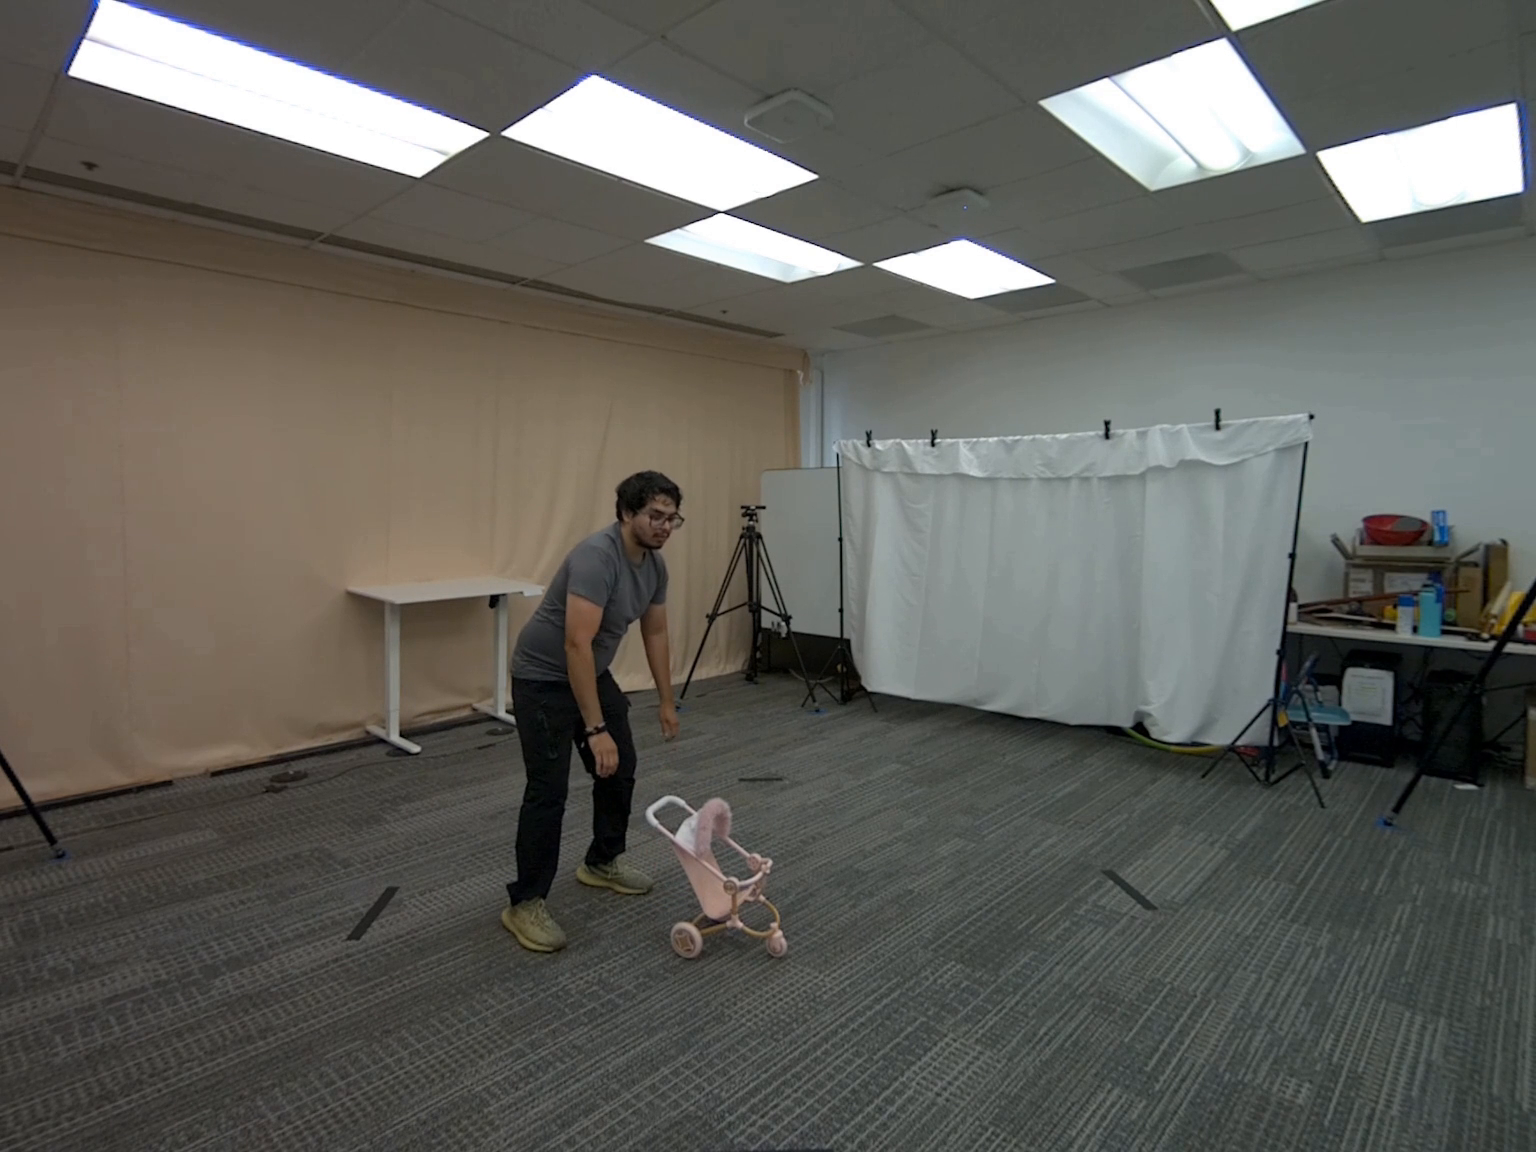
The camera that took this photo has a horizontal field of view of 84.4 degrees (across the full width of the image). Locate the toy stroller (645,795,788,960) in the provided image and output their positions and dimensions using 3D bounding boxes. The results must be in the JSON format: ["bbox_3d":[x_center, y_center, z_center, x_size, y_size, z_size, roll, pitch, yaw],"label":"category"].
[{"bbox_3d":[-0.147,0.955,2.663,0.348,0.537,0.274,-18,-5,28],"label":"toy stroller"}]
